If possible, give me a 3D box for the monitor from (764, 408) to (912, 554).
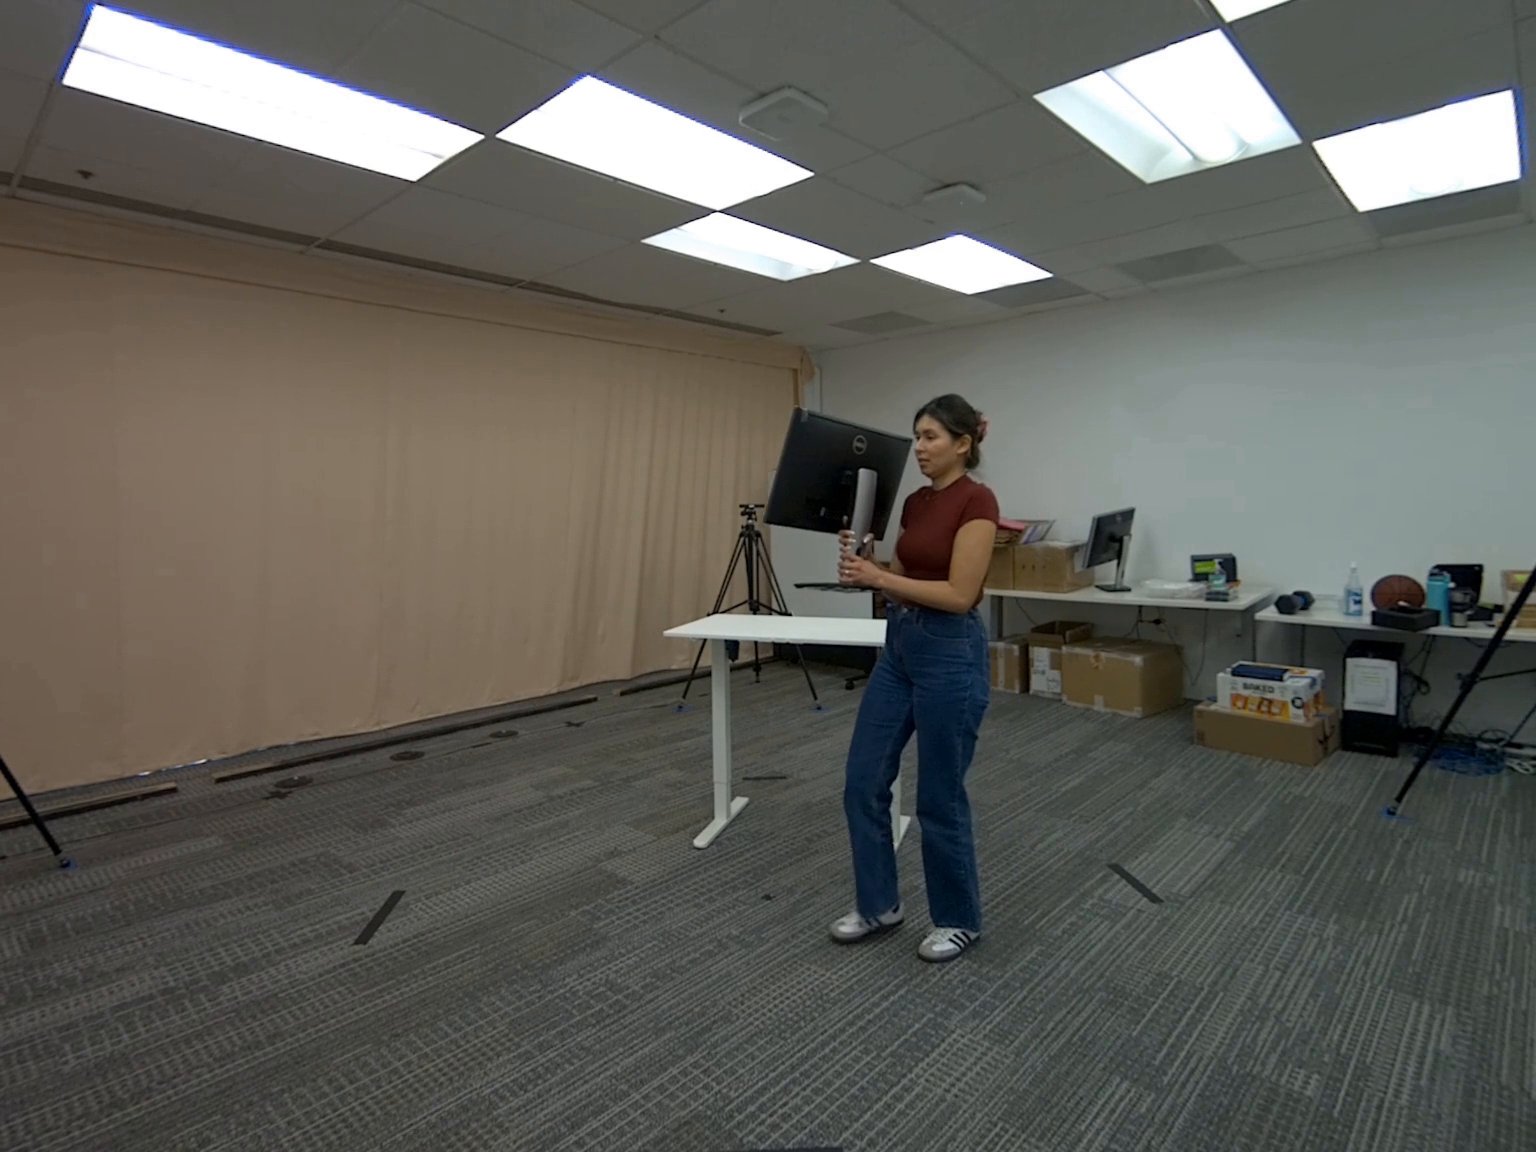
[{"bbox_3d":[0.244,-0.208,2.588,0.521,0.523,0.193,7,-1,-43],"label":"monitor"}]
